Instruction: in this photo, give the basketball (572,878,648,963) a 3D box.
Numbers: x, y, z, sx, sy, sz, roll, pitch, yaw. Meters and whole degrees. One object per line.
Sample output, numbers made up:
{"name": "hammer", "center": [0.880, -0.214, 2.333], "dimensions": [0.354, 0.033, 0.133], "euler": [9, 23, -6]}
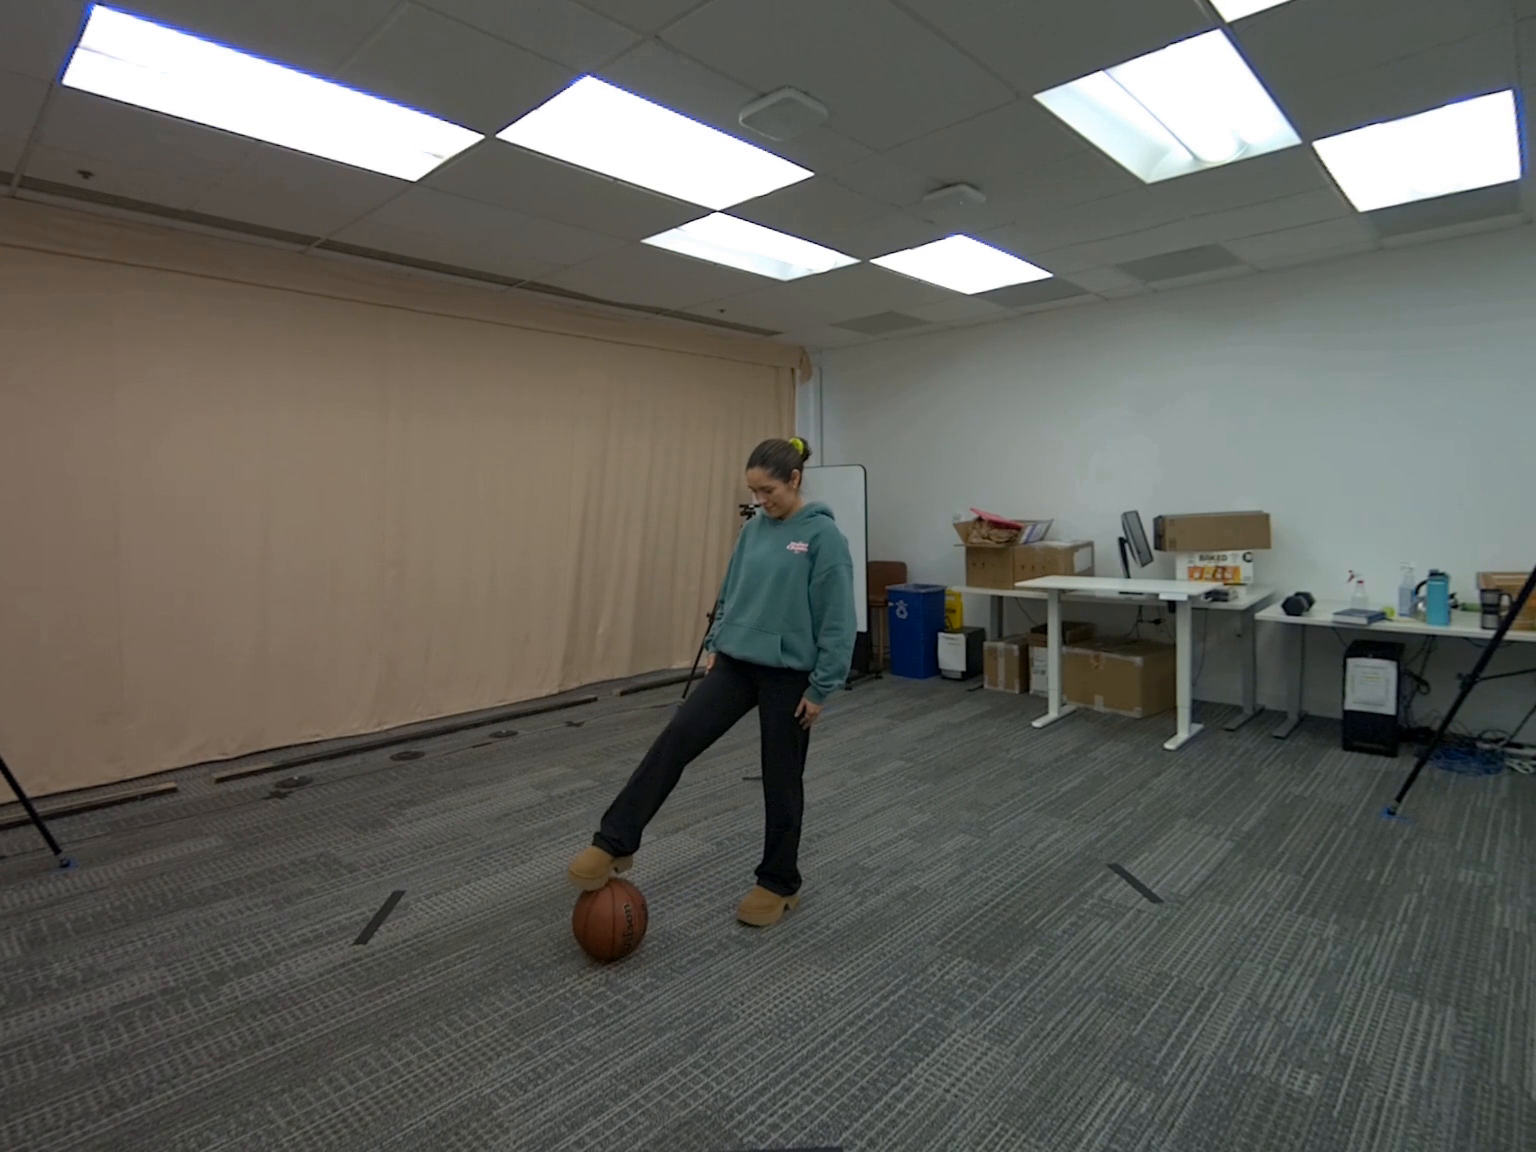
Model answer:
{"name": "basketball", "center": [-0.481, 1.061, 2.618], "dimensions": [0.236, 0.235, 0.237], "euler": [-1, 4, -2]}
